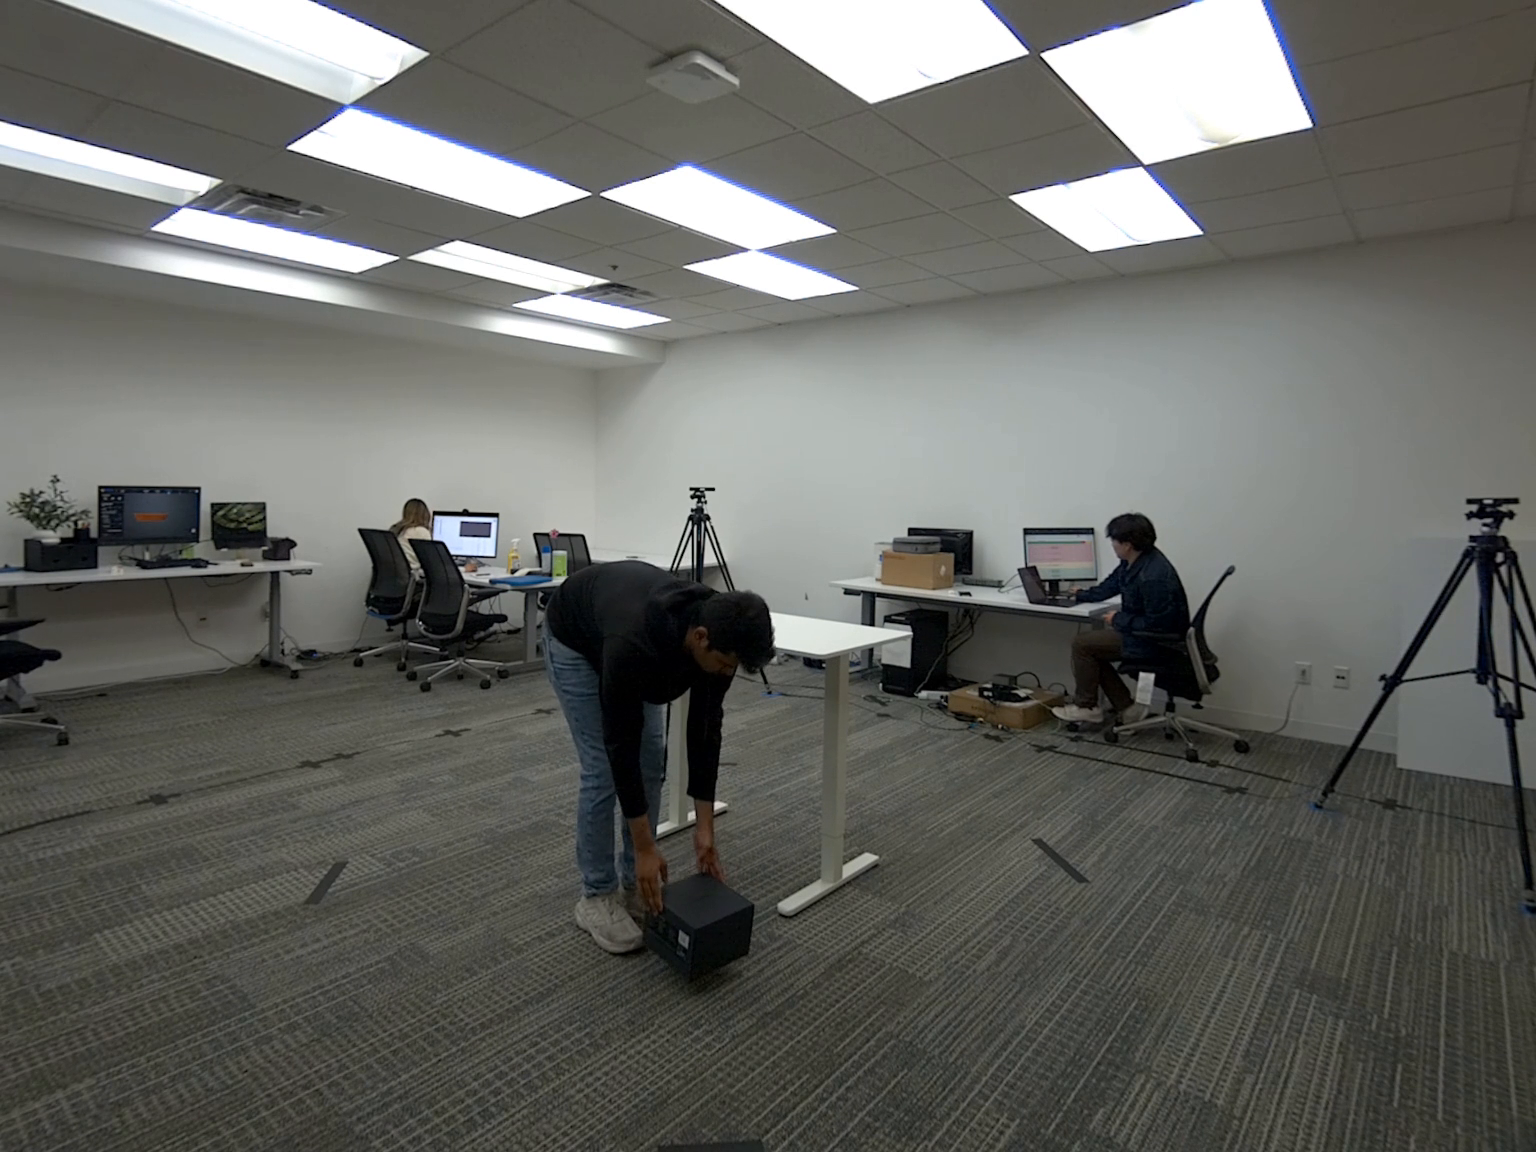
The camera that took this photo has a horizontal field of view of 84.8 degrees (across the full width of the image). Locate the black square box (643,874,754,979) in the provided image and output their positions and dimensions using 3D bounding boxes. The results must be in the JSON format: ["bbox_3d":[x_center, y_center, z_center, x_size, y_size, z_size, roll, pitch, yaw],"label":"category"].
[{"bbox_3d":[-0.198,0.966,2.424,0.225,0.155,0.221,13,11,43],"label":"black square box"}]
